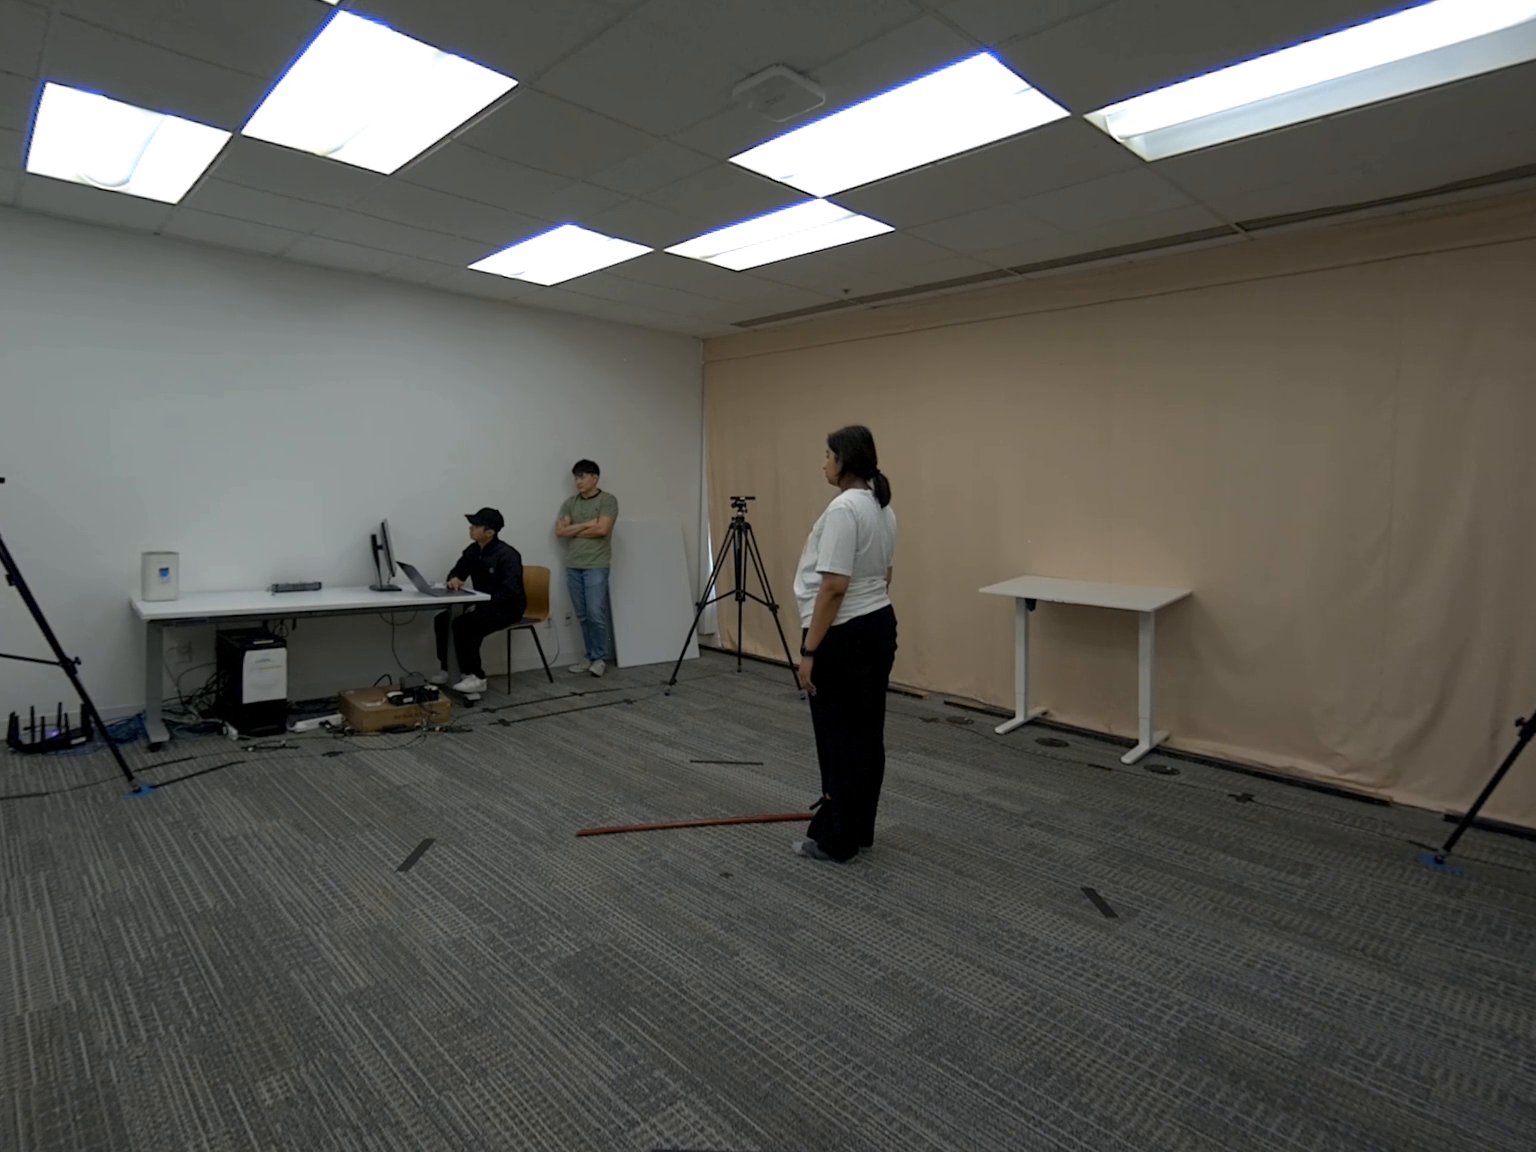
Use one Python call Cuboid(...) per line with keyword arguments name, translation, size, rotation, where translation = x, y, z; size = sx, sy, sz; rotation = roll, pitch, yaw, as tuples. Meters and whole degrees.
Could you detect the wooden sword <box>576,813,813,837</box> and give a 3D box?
Cuboid(name="wooden sword", translation=(-0.300, 1.040, 3.547), size=(1.013, 0.024, 0.052), rotation=(0, 17, -14))
